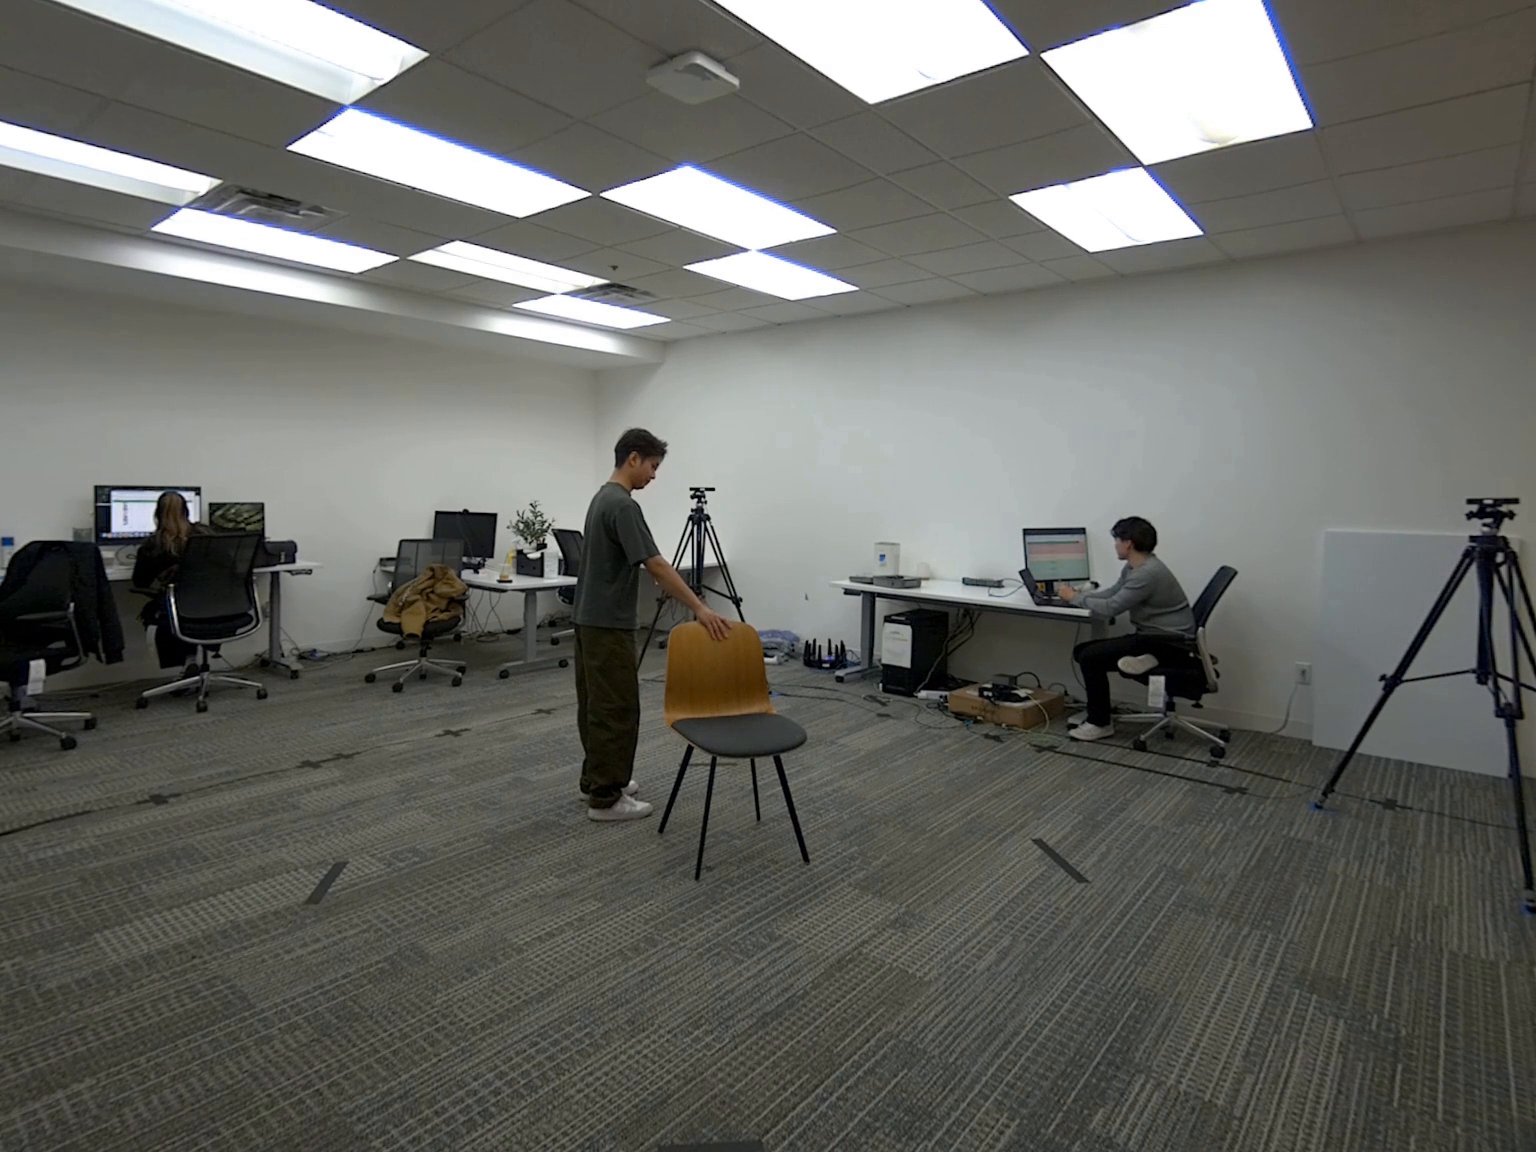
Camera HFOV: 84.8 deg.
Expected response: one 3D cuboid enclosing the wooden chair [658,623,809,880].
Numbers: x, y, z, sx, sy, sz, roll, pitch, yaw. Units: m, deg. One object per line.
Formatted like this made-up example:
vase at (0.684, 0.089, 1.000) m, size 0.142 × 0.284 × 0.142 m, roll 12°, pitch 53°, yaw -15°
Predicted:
wooden chair at (-0.142, 0.625, 3.264) m, size 0.467 × 0.879 × 0.534 m, roll 0°, pitch -1°, yaw -23°
